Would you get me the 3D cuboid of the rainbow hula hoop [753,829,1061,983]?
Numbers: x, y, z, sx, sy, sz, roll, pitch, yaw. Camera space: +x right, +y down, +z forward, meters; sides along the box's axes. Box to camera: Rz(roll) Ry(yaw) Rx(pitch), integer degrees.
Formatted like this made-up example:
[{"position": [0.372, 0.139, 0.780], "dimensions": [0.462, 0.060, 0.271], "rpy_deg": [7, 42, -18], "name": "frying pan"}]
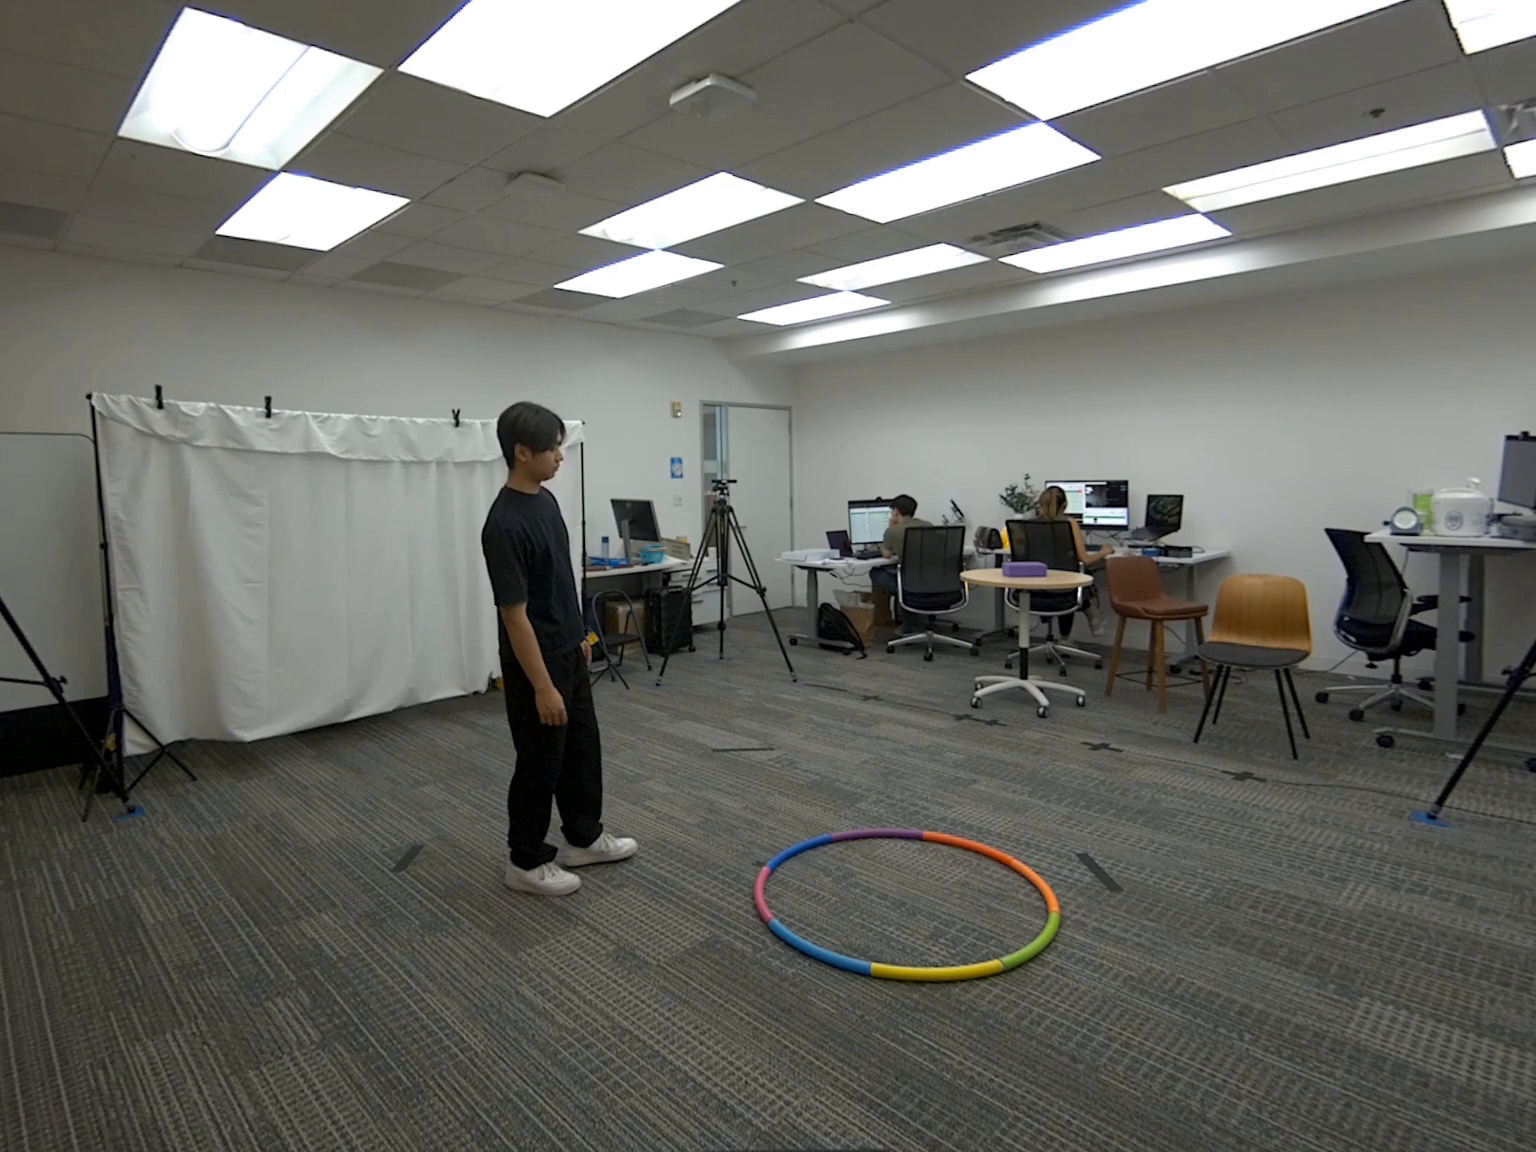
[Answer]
[{"position": [0.440, 1.038, 2.845], "dimensions": [0.978, 0.035, 0.984], "rpy_deg": [-2, 6, -2], "name": "rainbow hula hoop"}]
